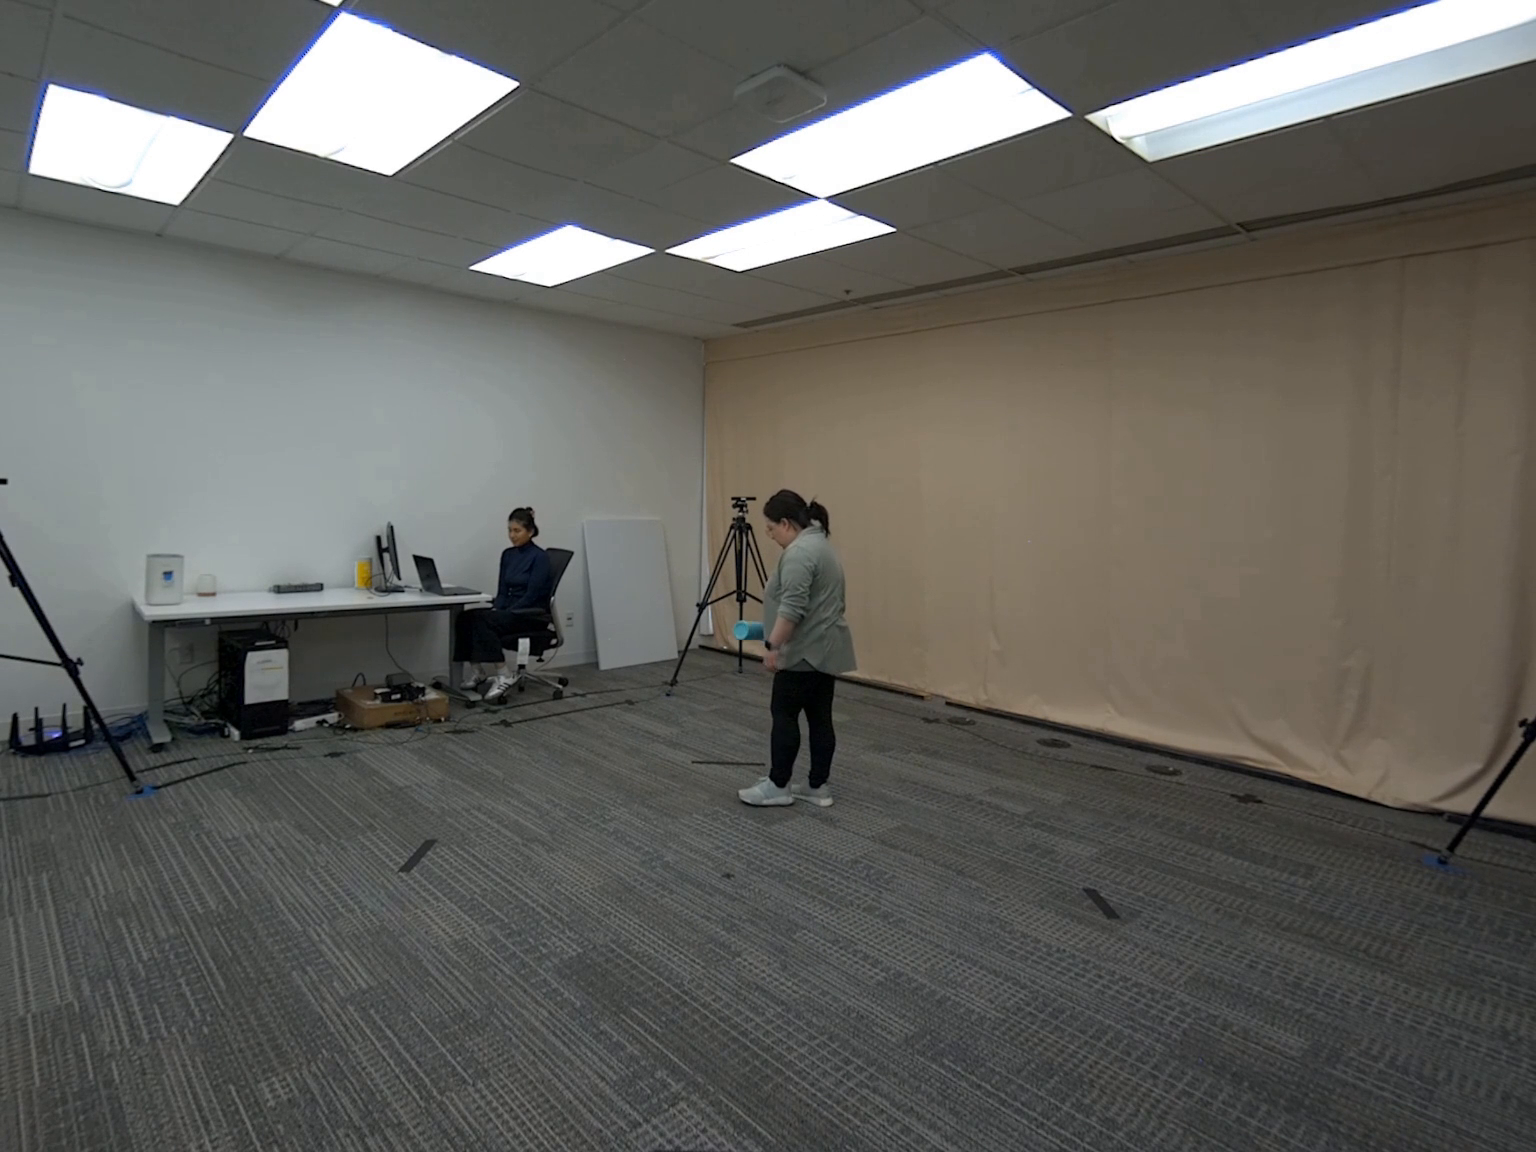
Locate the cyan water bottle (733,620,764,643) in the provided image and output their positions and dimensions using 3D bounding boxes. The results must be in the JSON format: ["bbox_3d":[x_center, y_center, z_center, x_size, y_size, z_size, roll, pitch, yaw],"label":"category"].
[{"bbox_3d":[-0.066,0.277,4.079,0.094,0.092,0.277,4,-2,30],"label":"cyan water bottle"}]
